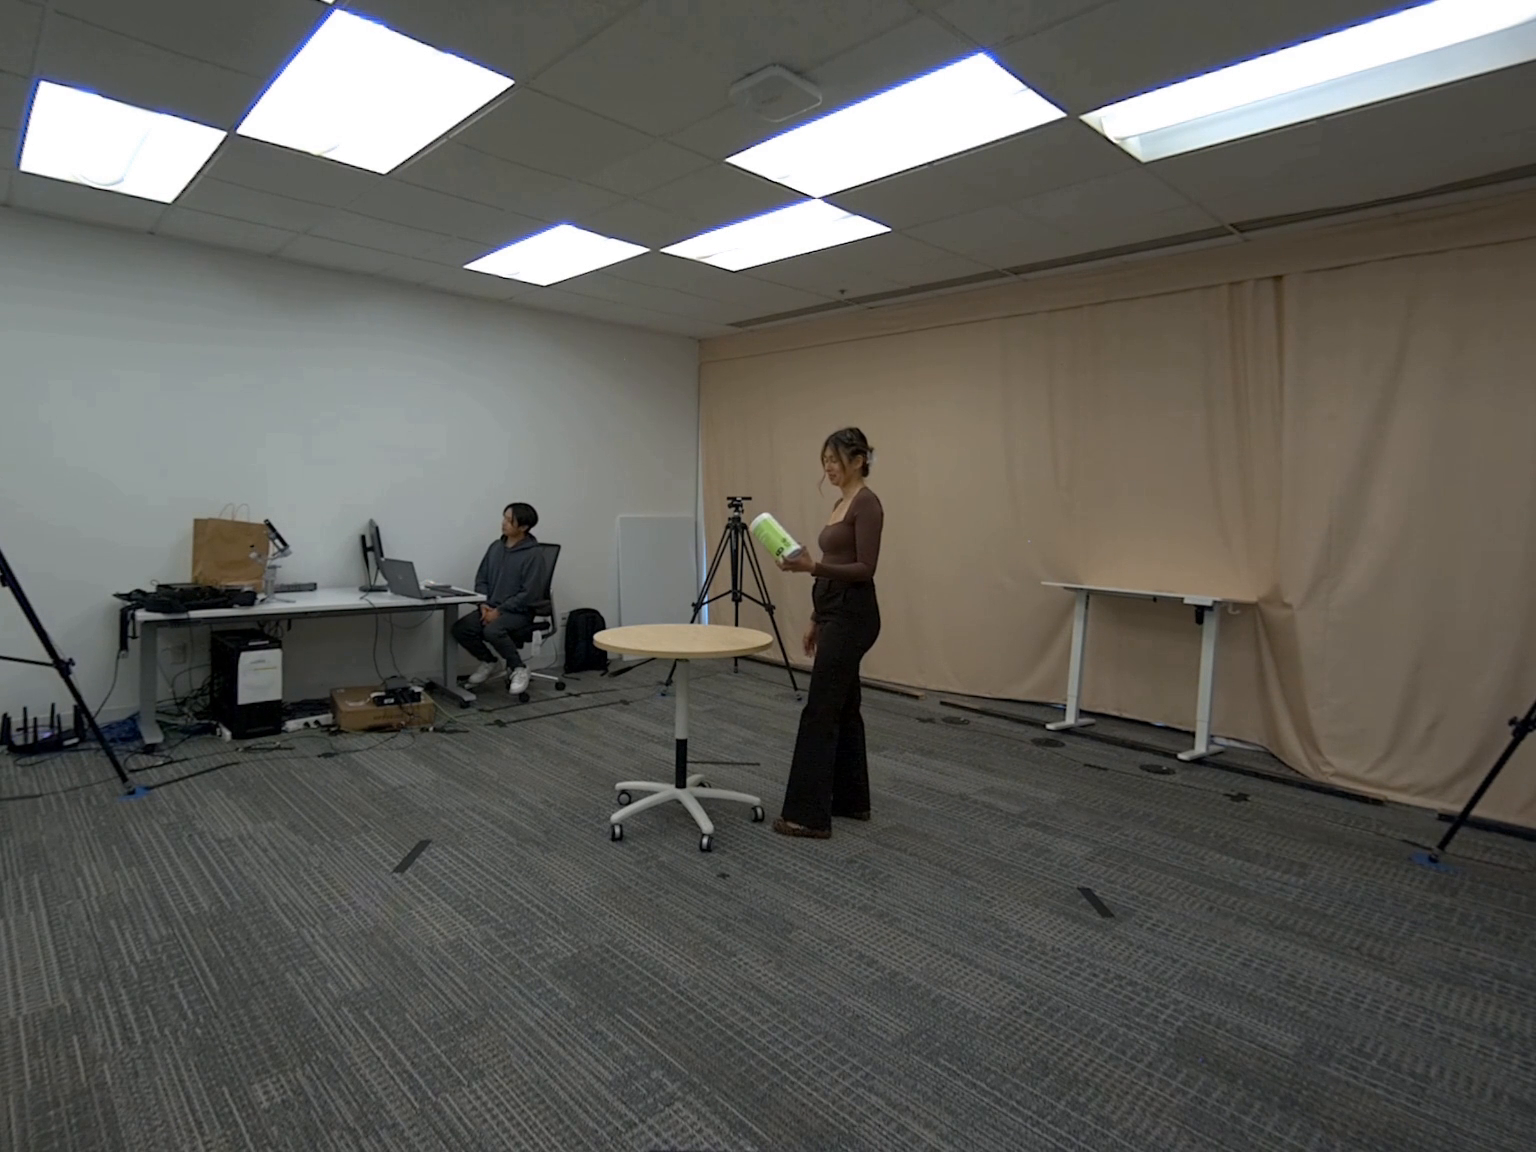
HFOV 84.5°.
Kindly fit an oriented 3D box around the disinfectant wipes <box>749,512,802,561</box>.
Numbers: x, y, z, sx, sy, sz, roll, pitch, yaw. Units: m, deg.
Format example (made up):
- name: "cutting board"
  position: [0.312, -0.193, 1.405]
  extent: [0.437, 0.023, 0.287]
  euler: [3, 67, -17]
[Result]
- name: "disinfectant wipes"
  position: [0.024, -0.144, 3.377]
  extent: [0.222, 0.117, 0.115]
  euler: [49, 27, 22]
